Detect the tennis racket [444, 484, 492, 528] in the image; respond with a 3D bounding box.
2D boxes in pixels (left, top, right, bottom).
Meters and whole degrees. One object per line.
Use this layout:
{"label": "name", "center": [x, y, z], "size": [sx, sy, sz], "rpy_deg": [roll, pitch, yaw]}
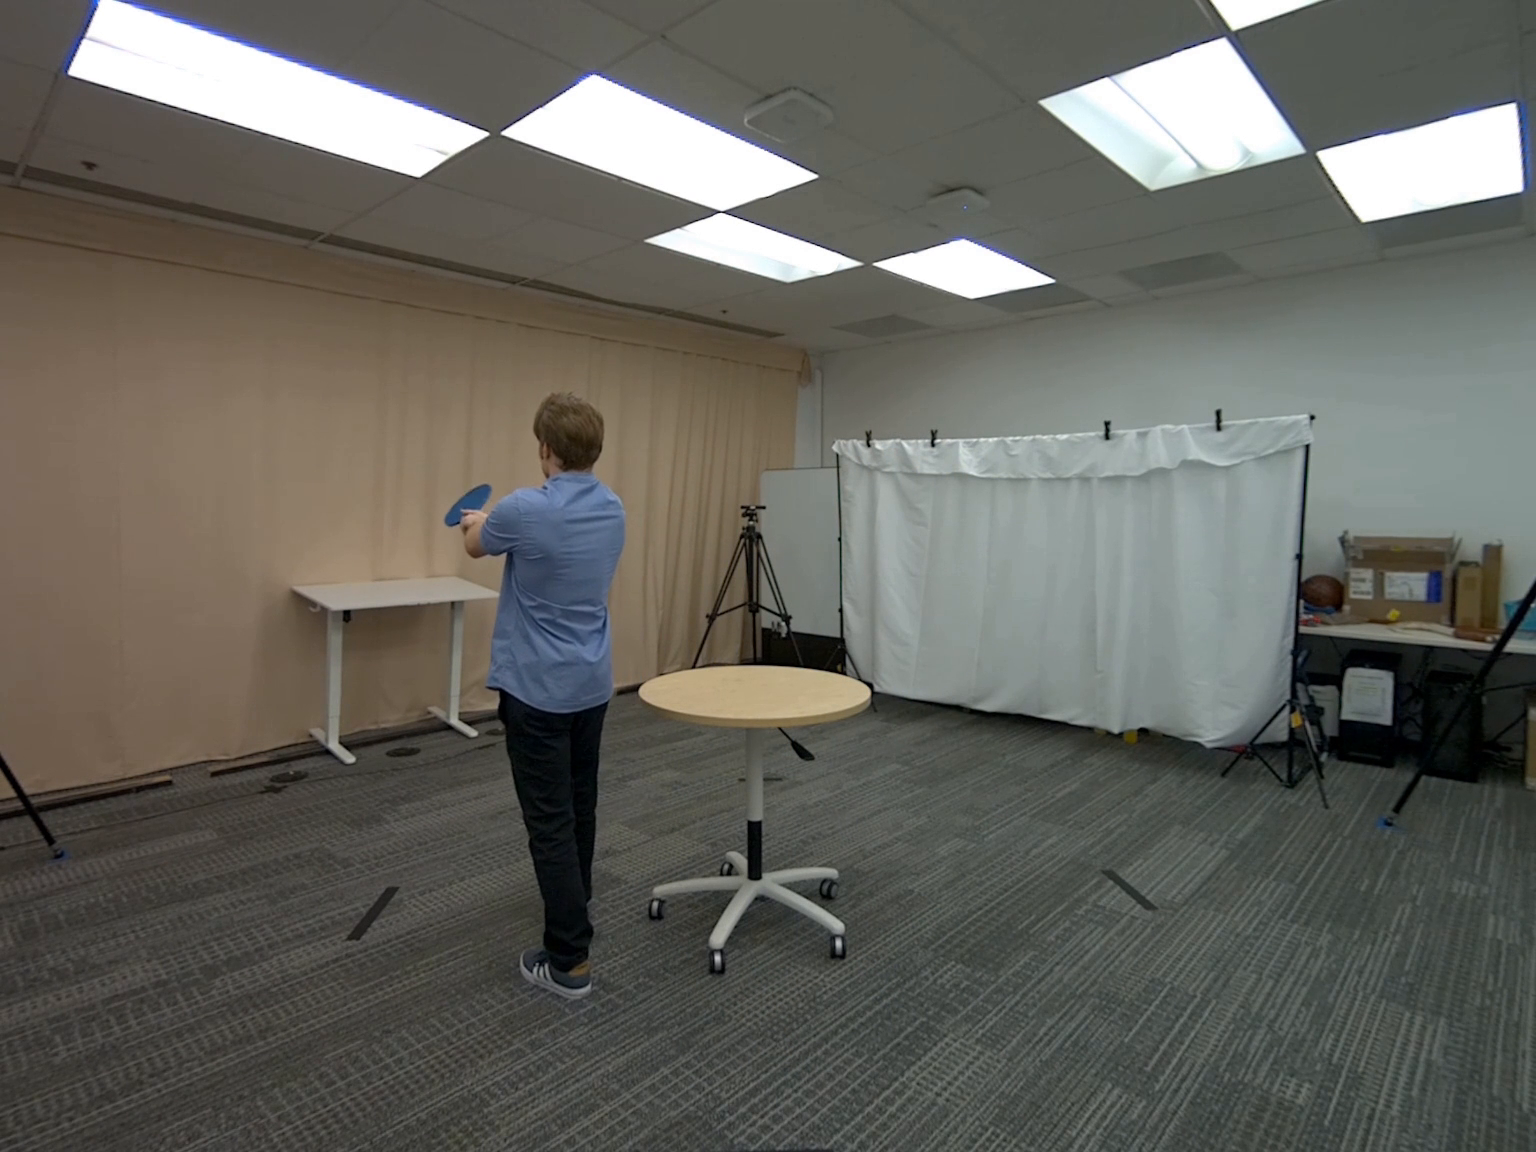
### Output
{"label": "tennis racket", "center": [-1.074, -0.225, 3.023], "size": [0.214, 0.031, 0.446], "rpy_deg": [-39, 31, -1]}
